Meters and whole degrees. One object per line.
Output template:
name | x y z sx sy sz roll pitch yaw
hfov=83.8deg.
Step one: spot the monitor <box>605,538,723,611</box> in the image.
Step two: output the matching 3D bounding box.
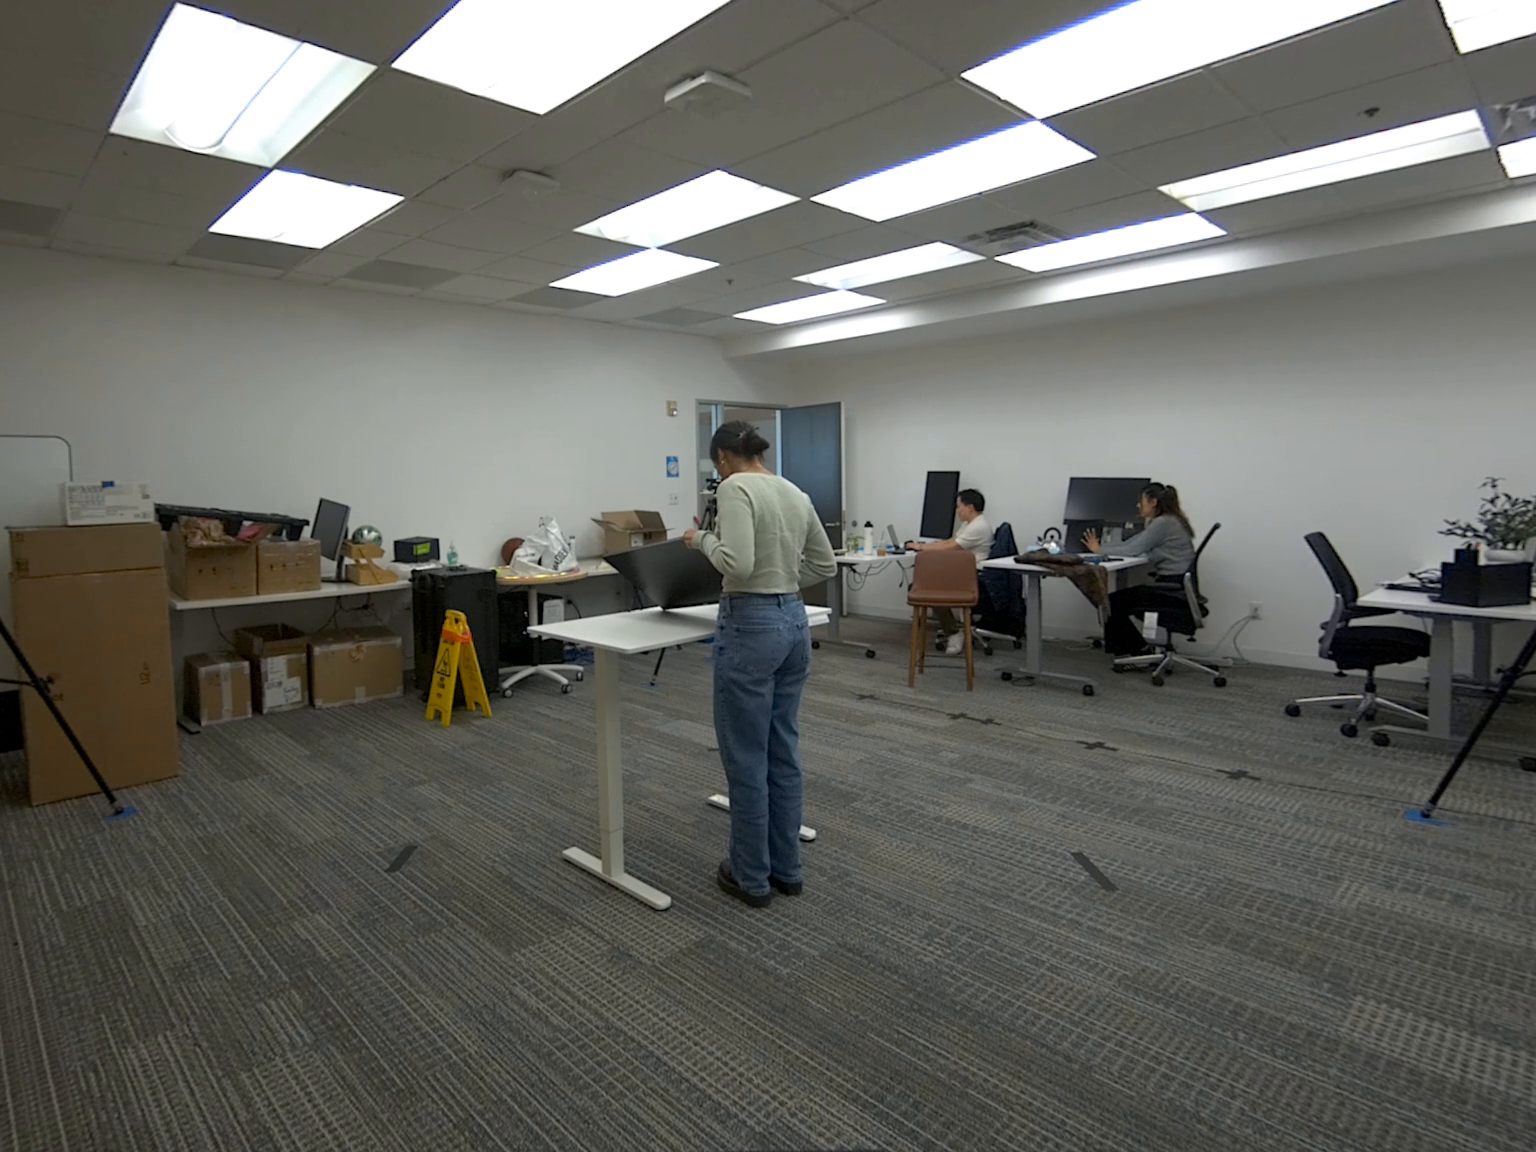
monitor | -0.267 -0.019 3.244 0.551 0.190 0.503 -10 -23 43
